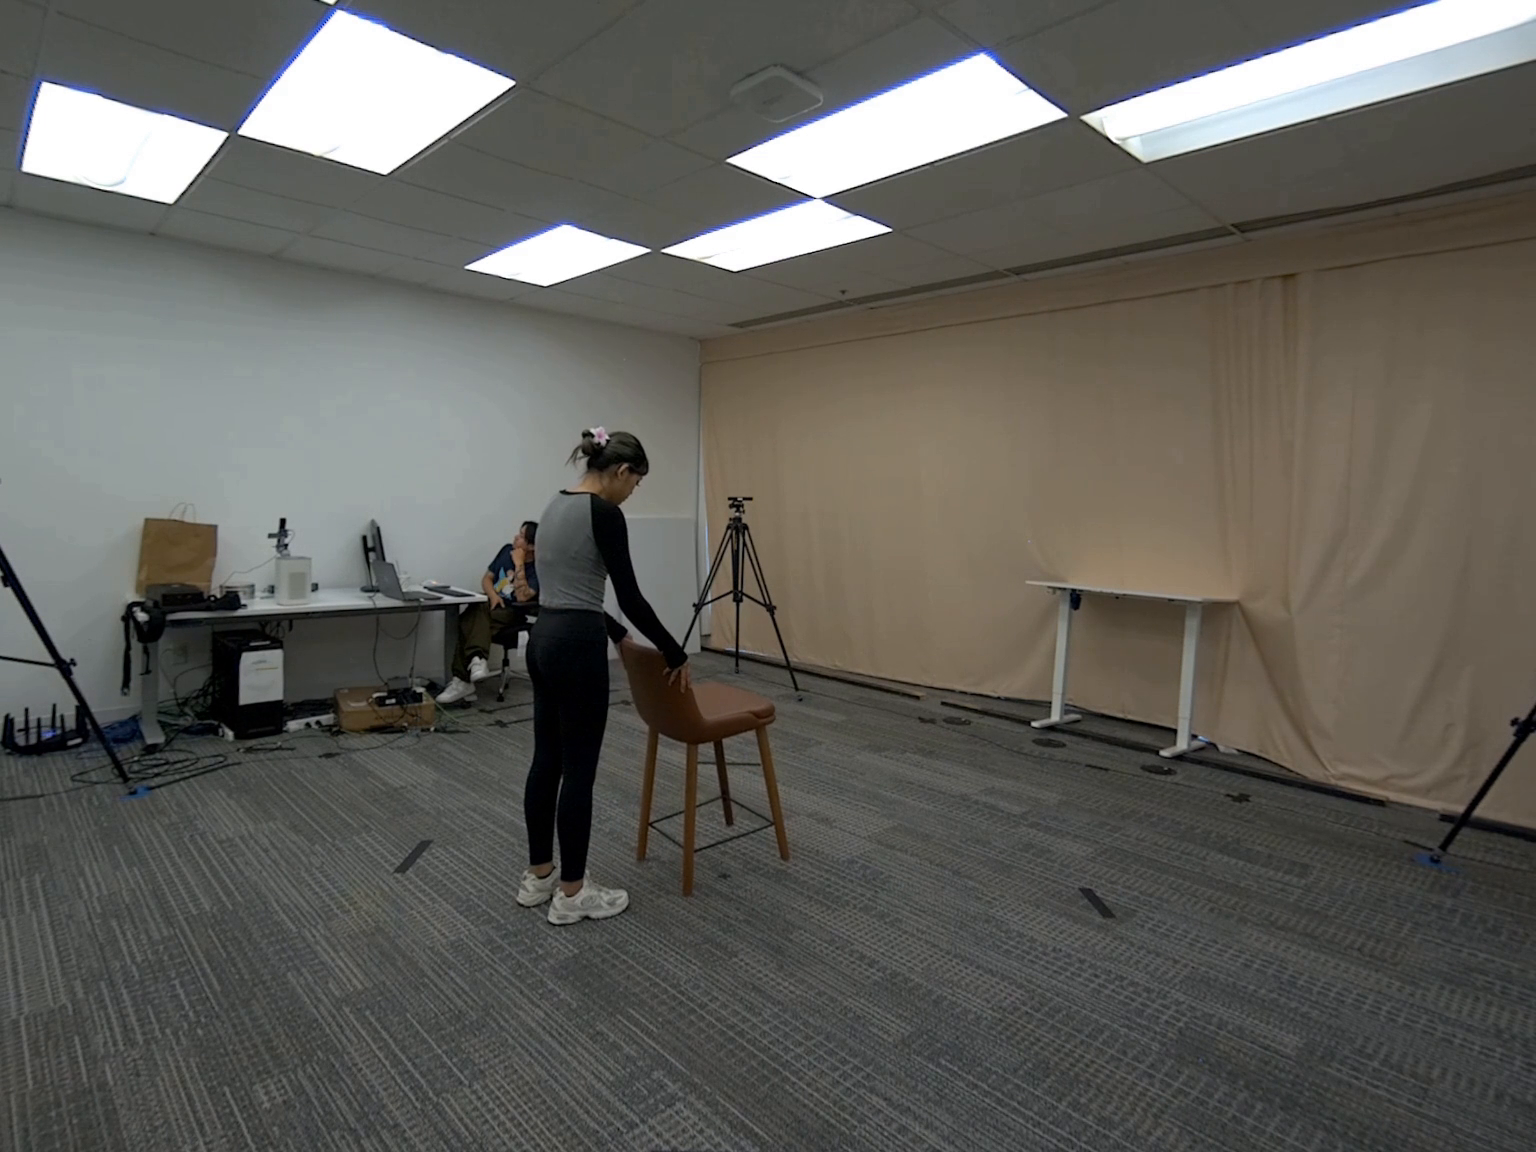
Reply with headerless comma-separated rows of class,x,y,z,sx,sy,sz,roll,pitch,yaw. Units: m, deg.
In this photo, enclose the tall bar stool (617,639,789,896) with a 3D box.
tall bar stool,-0.255,0.646,3.157,0.459,0.884,0.468,-10,9,-34
